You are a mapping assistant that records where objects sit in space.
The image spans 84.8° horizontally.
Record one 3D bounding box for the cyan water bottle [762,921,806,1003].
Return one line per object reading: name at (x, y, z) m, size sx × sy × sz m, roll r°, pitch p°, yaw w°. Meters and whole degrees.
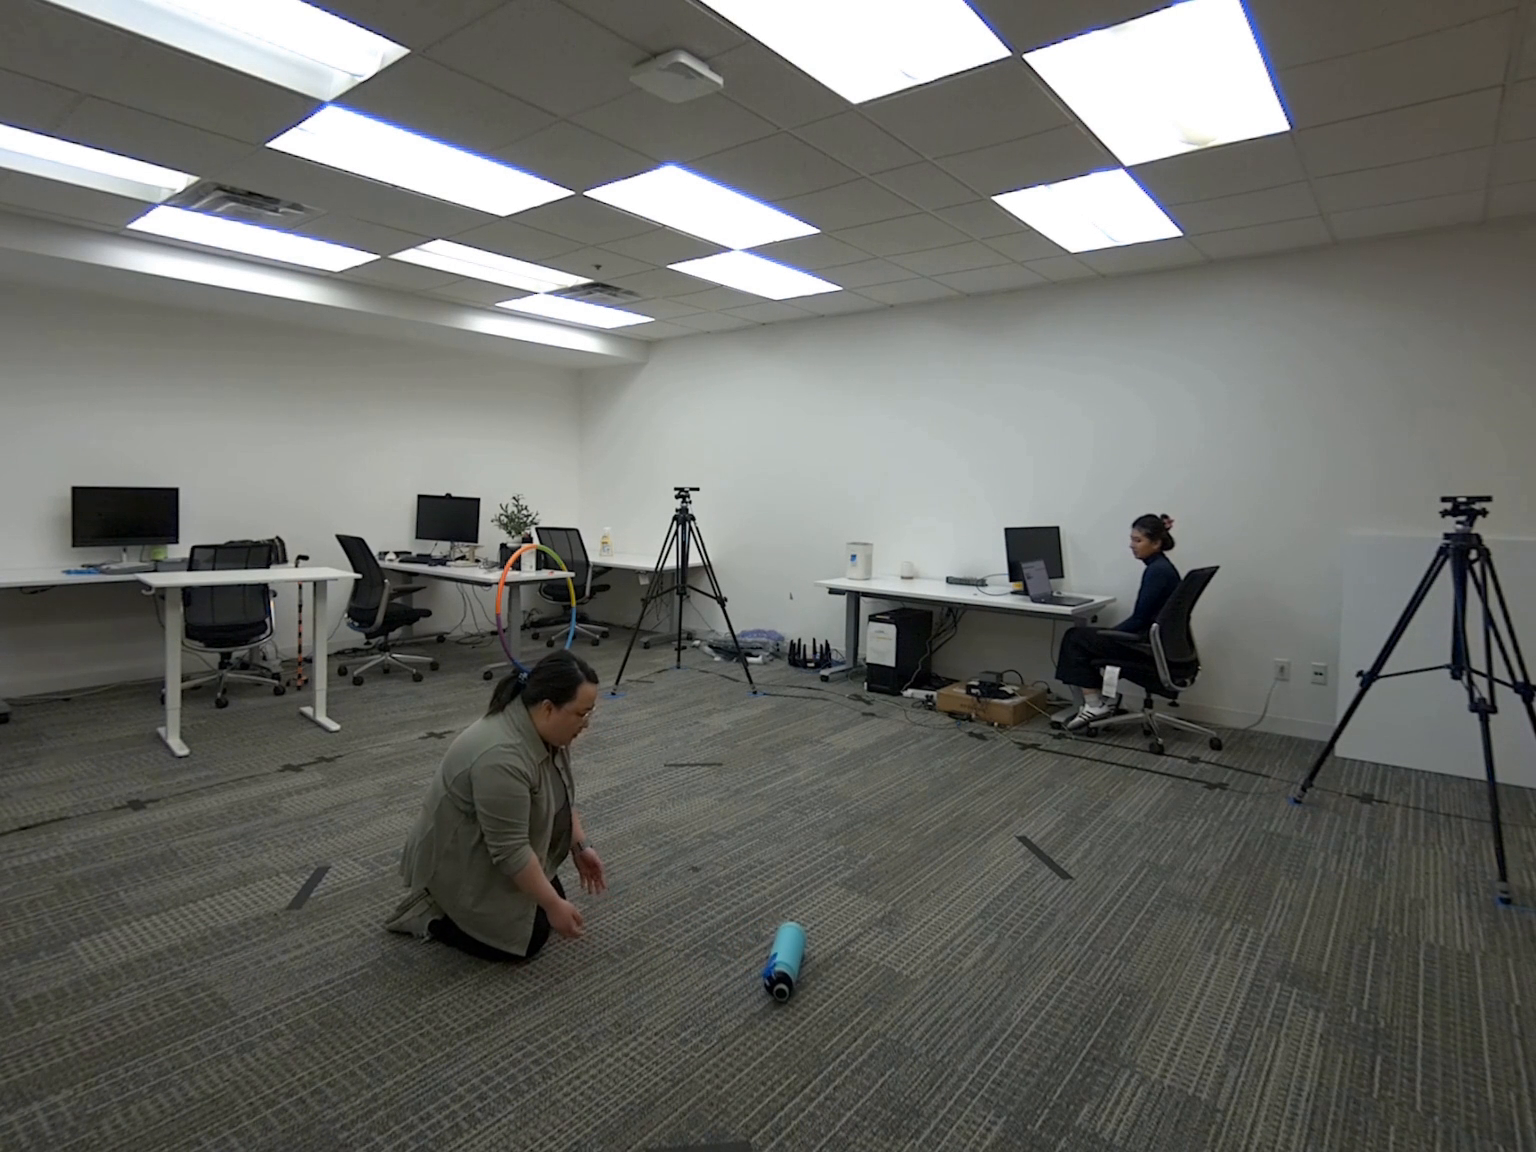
cyan water bottle at (0.038, 1.099, 2.416) m, size 0.093 × 0.092 × 0.281 m, roll 2°, pitch 6°, yaw 10°
